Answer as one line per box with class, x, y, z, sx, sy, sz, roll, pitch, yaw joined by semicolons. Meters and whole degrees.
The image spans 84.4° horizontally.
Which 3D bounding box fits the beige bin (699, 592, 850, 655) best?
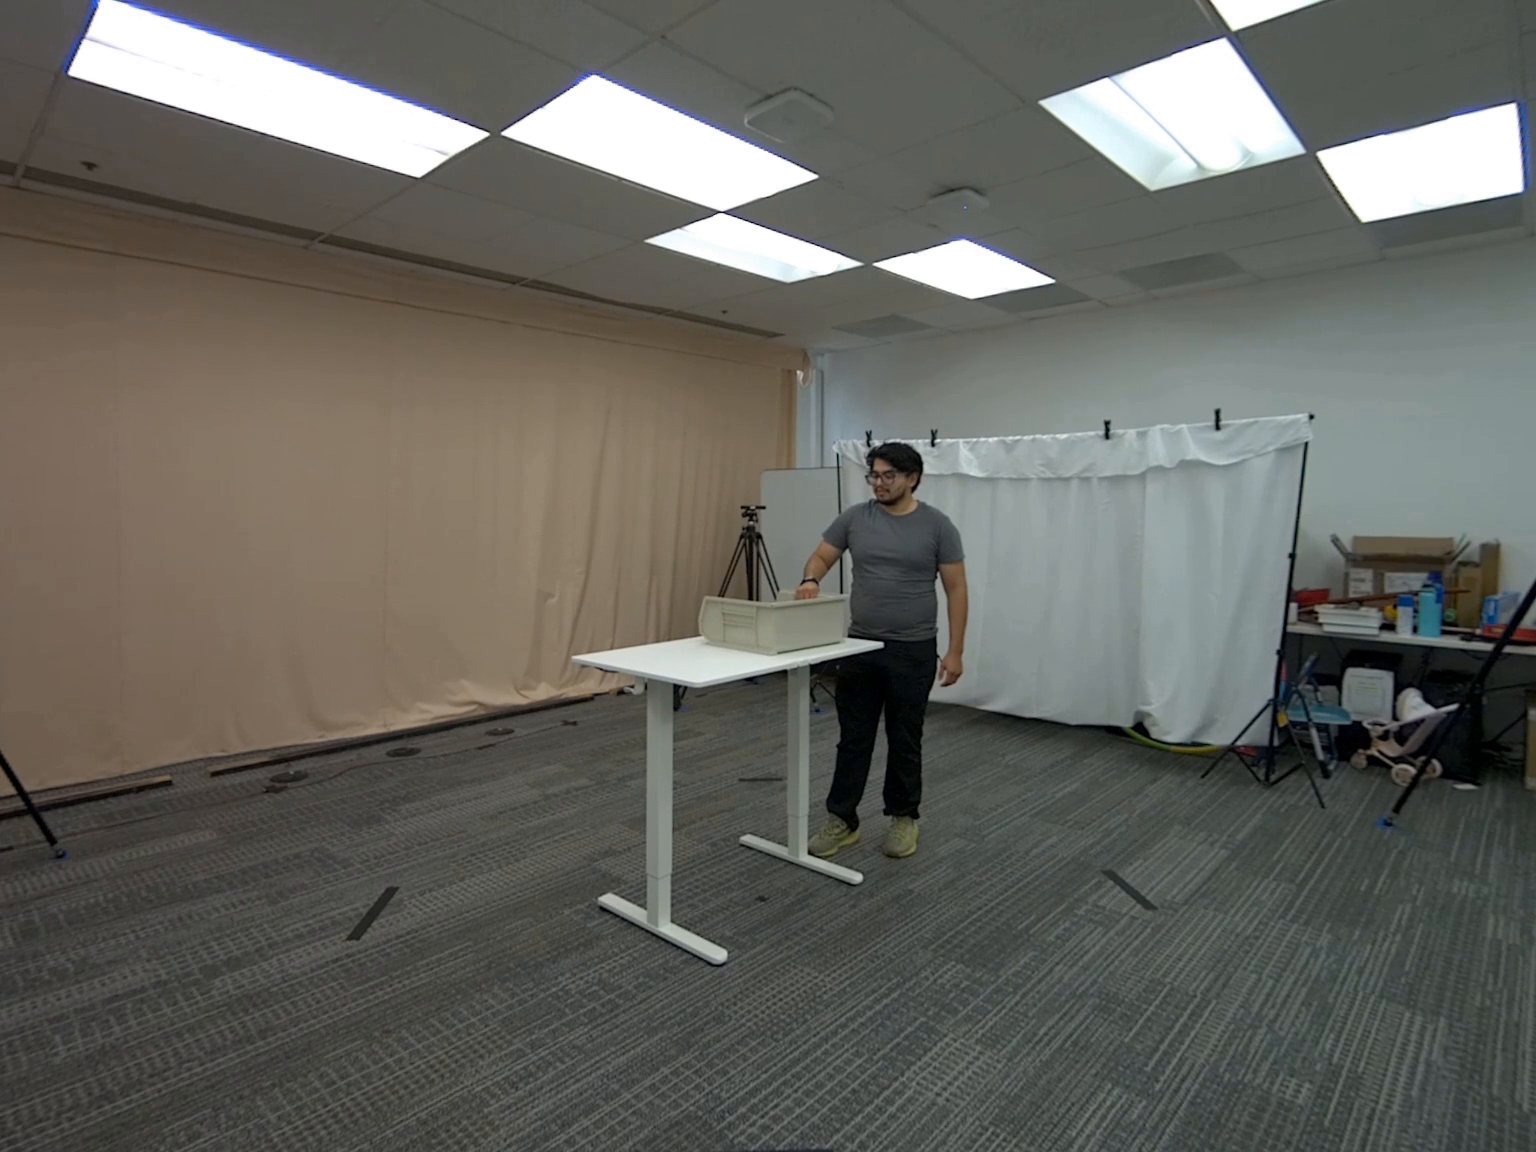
beige bin;0.021;0.162;3.117;0.409;0.188;0.390;-3;7;-45
